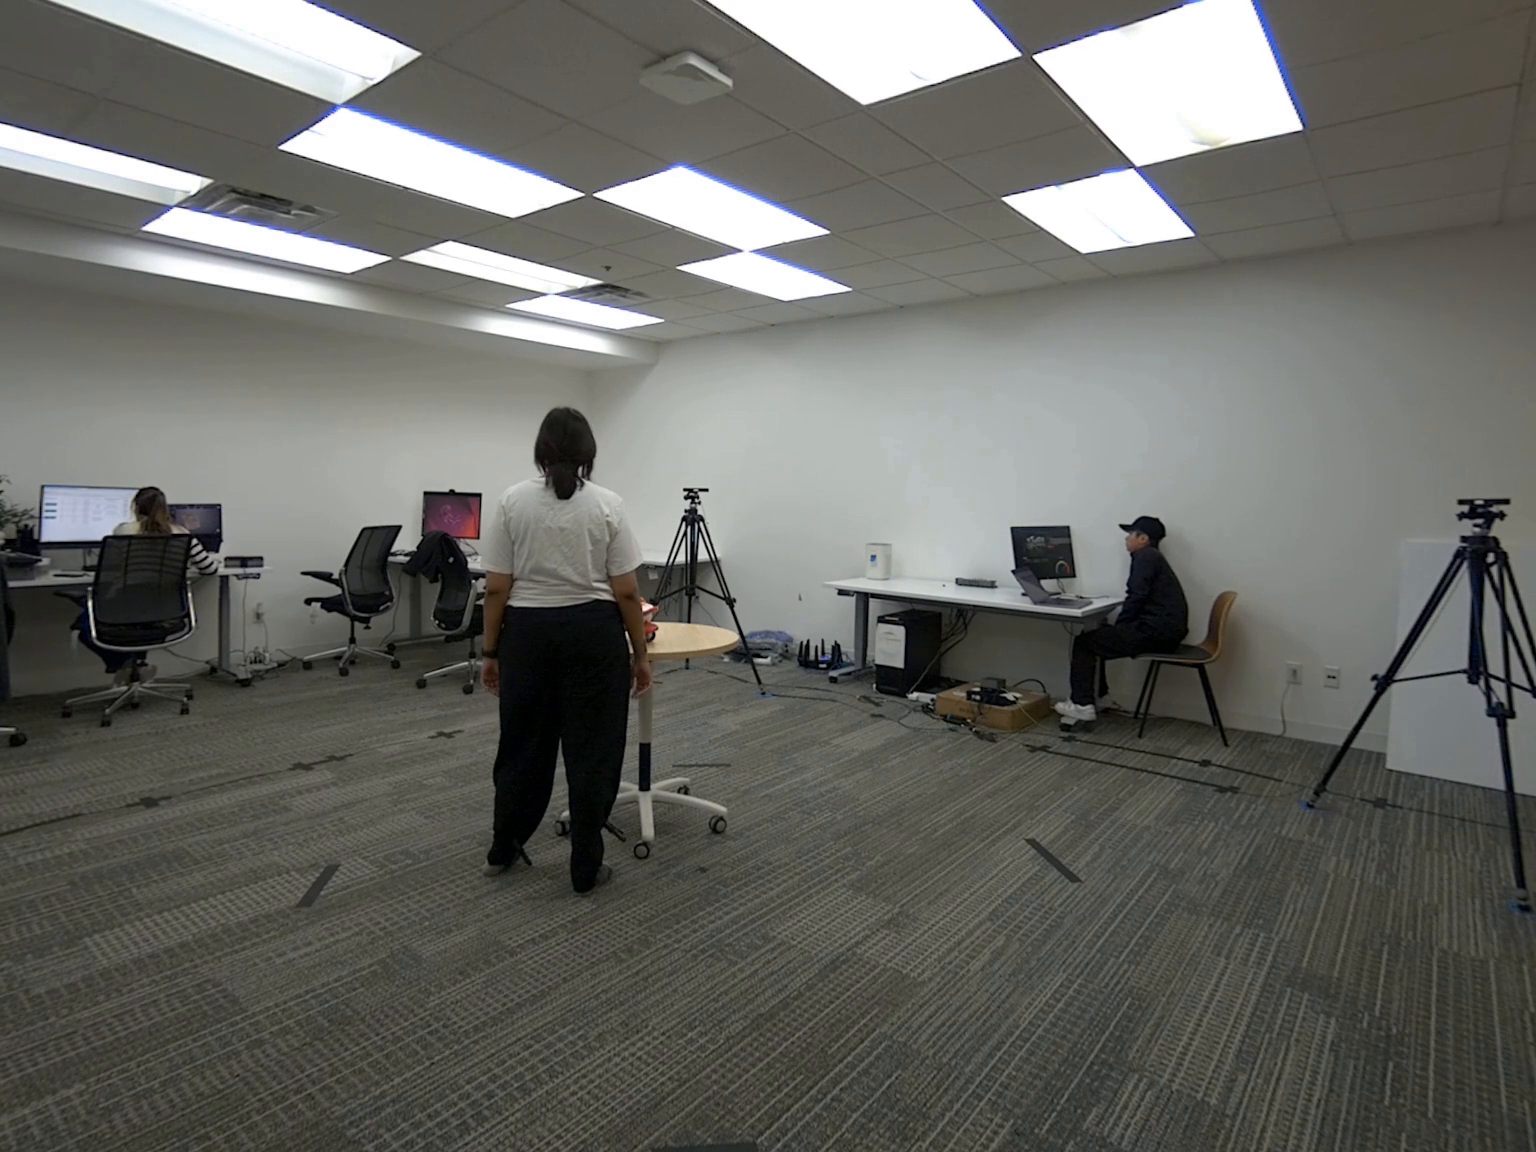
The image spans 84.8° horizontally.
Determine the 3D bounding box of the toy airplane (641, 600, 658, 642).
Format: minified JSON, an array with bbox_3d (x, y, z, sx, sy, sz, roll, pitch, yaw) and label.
[{"bbox_3d":[-0.555,0.182,3.325,0.256,0.156,0.254,3,4,20],"label":"toy airplane"}]
